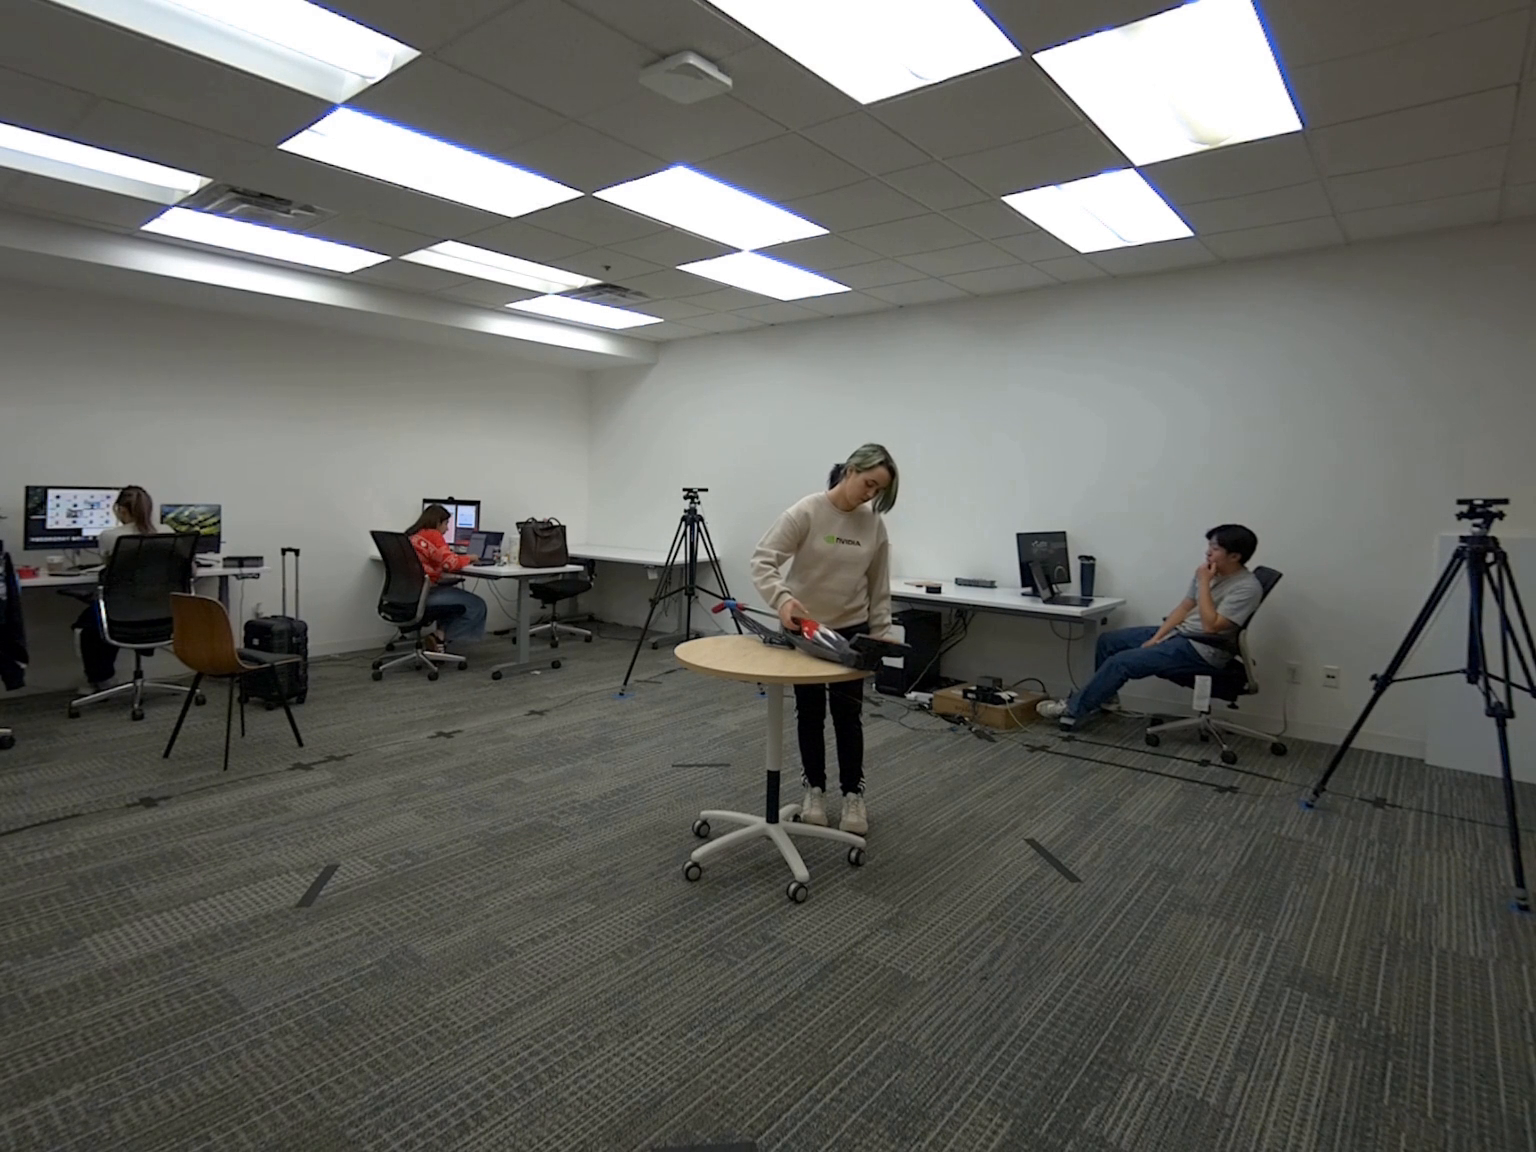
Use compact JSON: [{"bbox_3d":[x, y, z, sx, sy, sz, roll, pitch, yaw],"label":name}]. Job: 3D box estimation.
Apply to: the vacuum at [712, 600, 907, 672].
[{"bbox_3d":[0.055,0.226,3.323,0.244,0.144,1.083,9,2,-32],"label":"vacuum"}]
